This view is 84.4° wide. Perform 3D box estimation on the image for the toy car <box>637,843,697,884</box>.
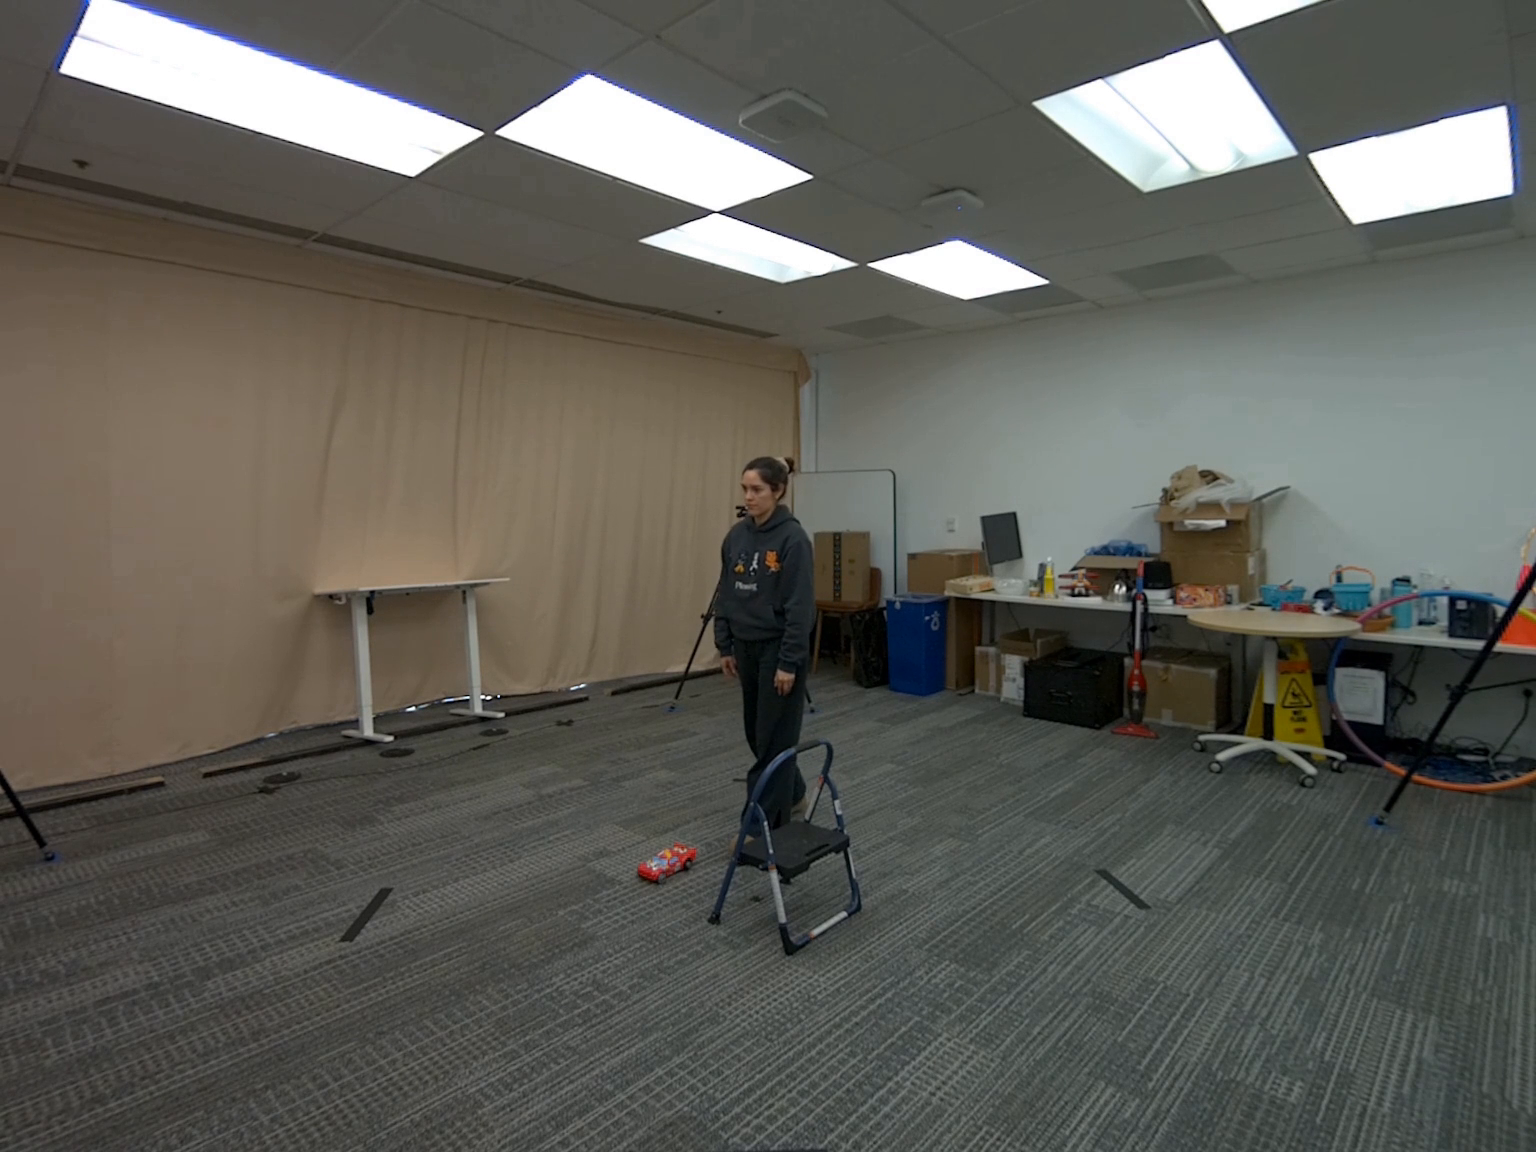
[{"bbox_3d":[-0.360,1.099,3.215,0.134,0.082,0.249,2,16,39],"label":"toy car"}]
